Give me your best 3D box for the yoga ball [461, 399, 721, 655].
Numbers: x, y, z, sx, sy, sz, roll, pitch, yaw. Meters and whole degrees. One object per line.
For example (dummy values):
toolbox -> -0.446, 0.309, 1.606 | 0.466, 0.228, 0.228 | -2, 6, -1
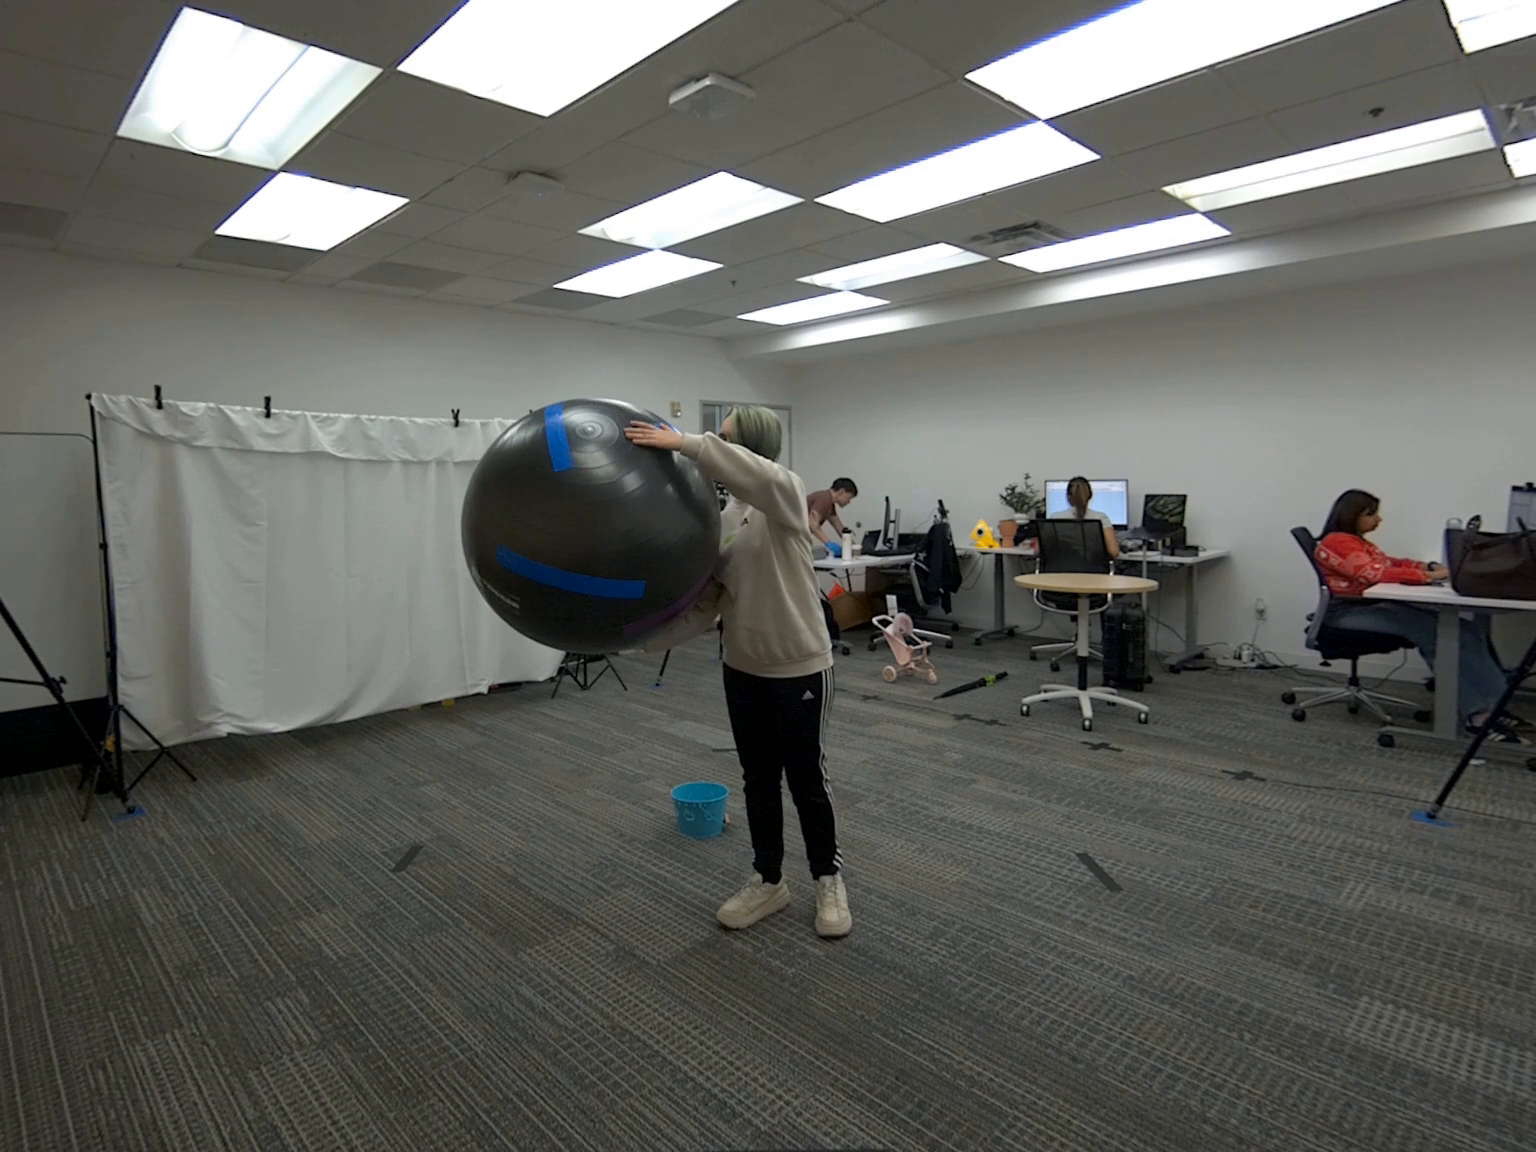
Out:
yoga ball -> -0.525, -0.143, 2.527 | 0.757, 0.755, 0.762 | -1, 5, -2
